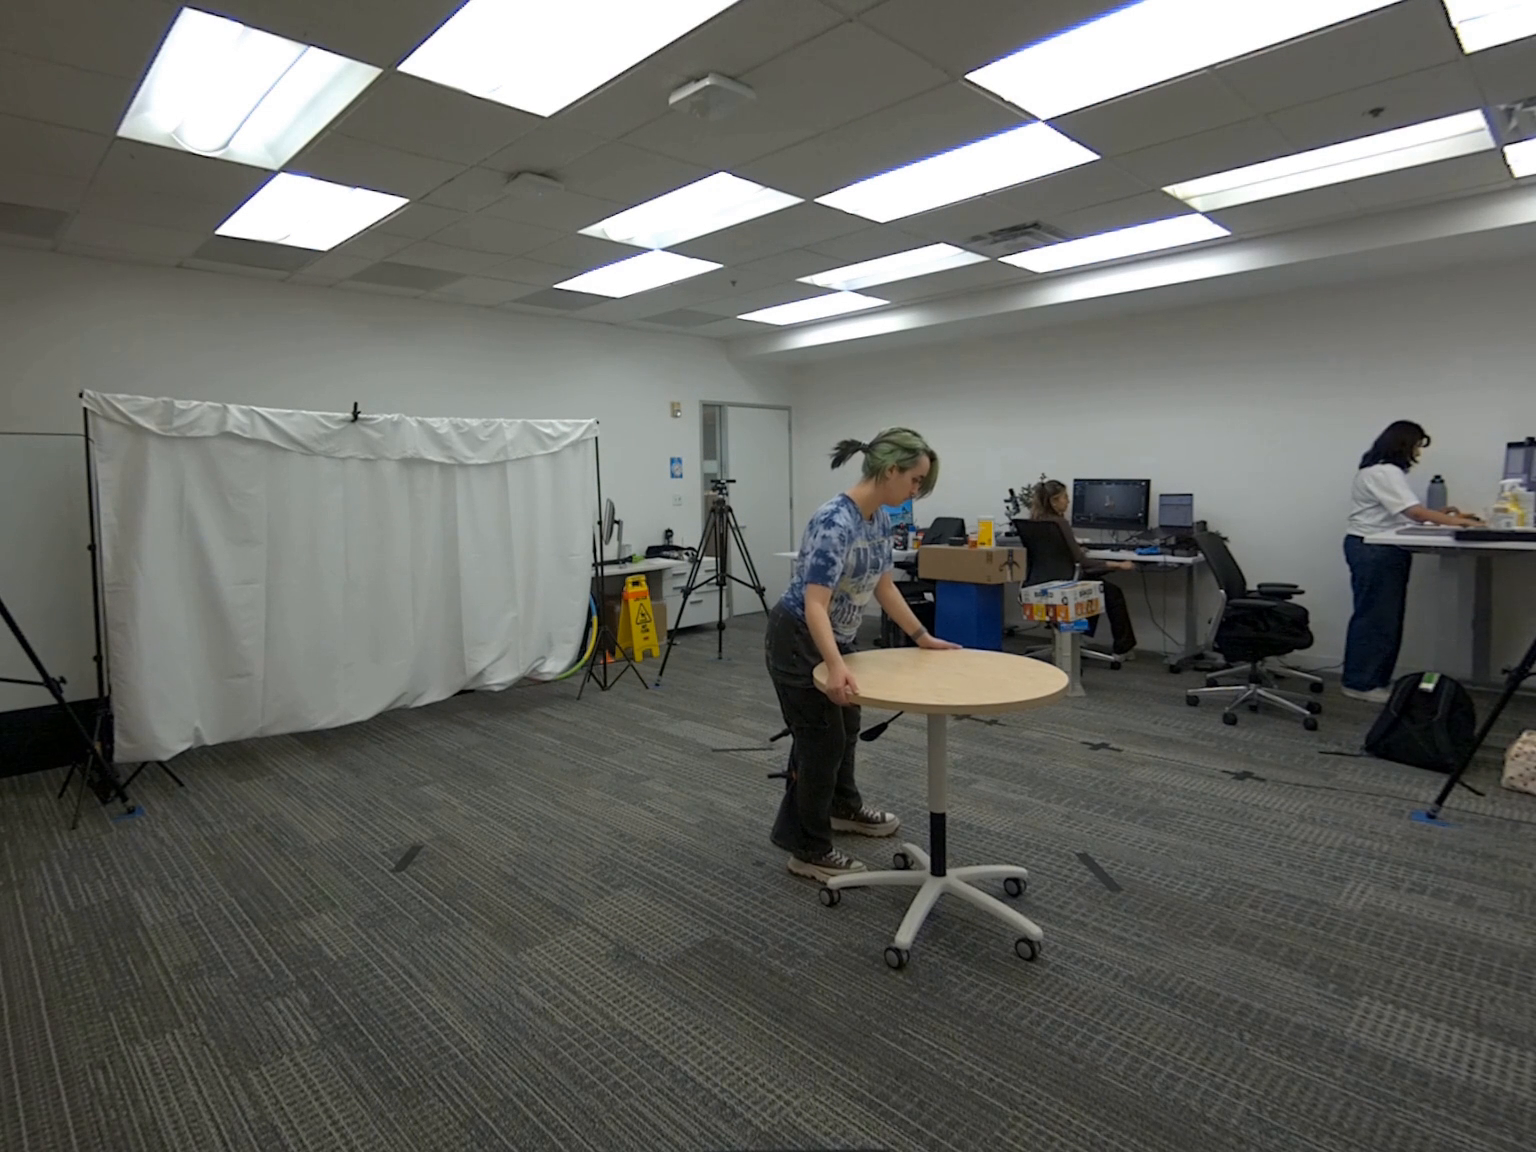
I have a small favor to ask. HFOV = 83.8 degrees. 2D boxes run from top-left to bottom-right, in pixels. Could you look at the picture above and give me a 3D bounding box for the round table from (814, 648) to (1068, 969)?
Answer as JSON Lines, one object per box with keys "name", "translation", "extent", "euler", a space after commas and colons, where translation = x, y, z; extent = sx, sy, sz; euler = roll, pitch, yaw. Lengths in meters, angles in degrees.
{"name": "round table", "translation": [0.543, 0.697, 2.679], "extent": [0.763, 0.791, 0.768], "euler": [-1, 5, -2]}
